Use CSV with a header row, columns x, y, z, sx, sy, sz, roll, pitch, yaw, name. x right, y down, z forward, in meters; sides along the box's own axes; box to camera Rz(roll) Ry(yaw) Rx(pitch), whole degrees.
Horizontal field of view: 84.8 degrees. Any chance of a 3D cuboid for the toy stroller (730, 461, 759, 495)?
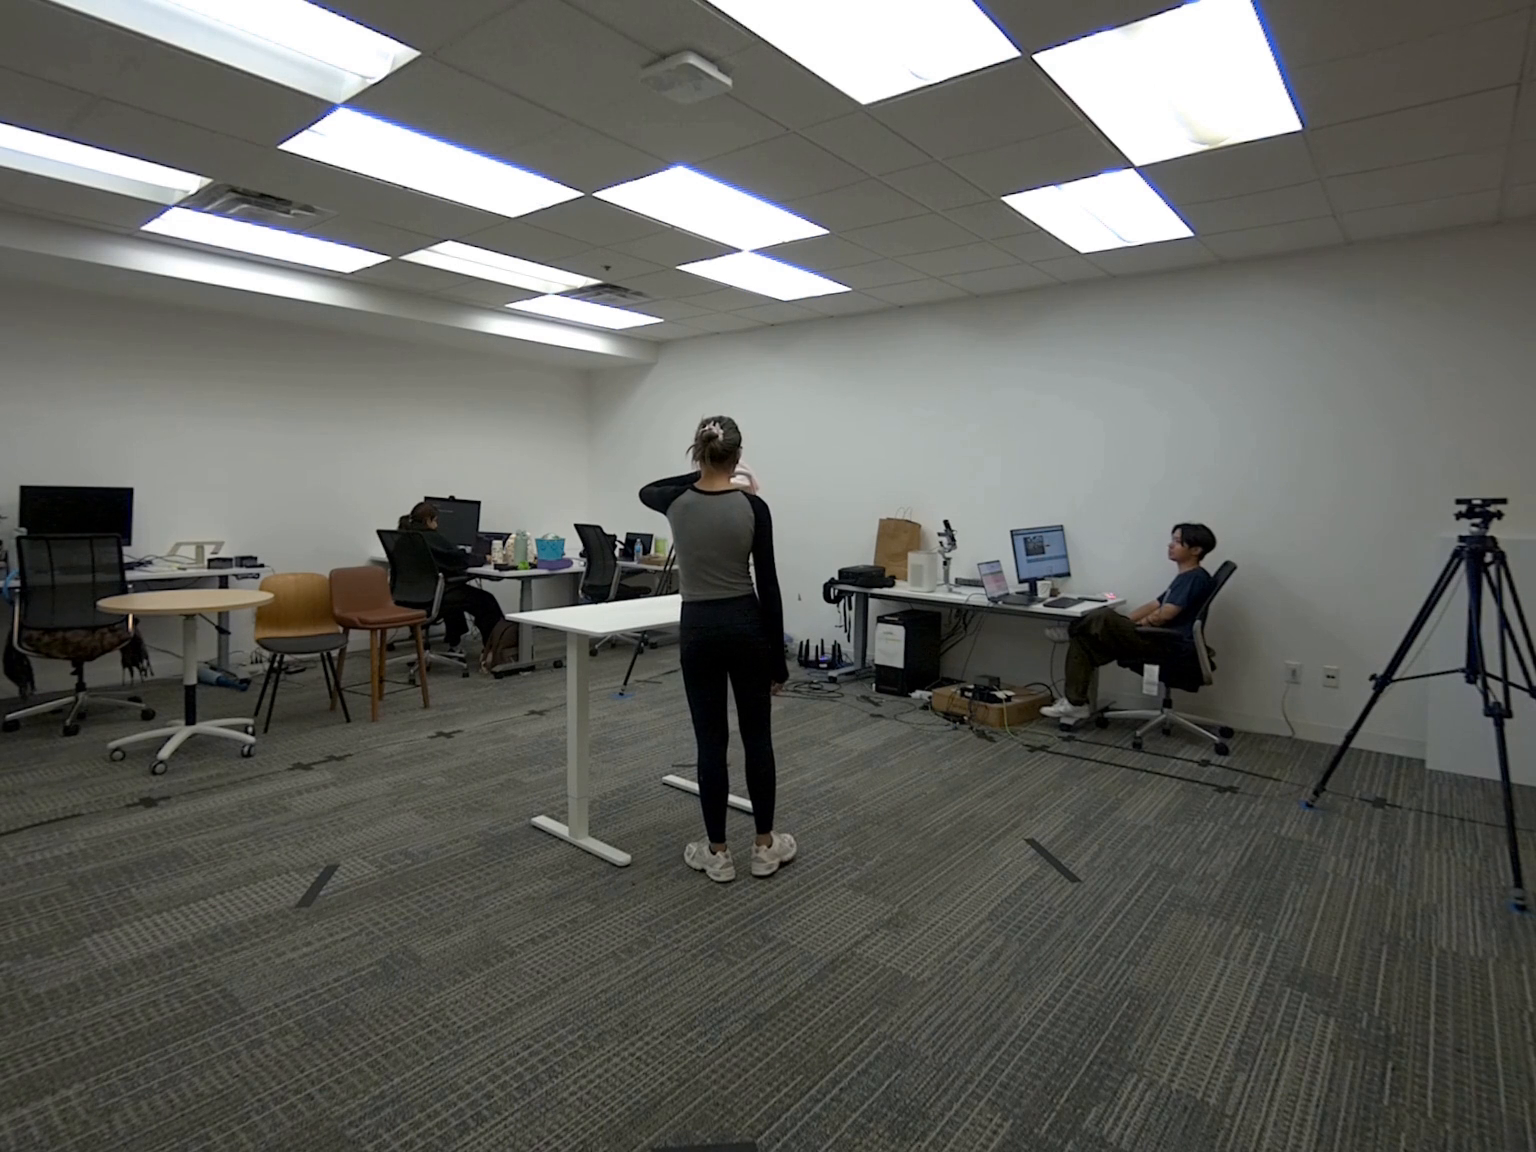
x,y,z,sx,sy,sz,roll,pitch,yaw,name
-0.145,-0.256,3.622,0.285,0.522,0.345,-2,25,11,toy stroller
